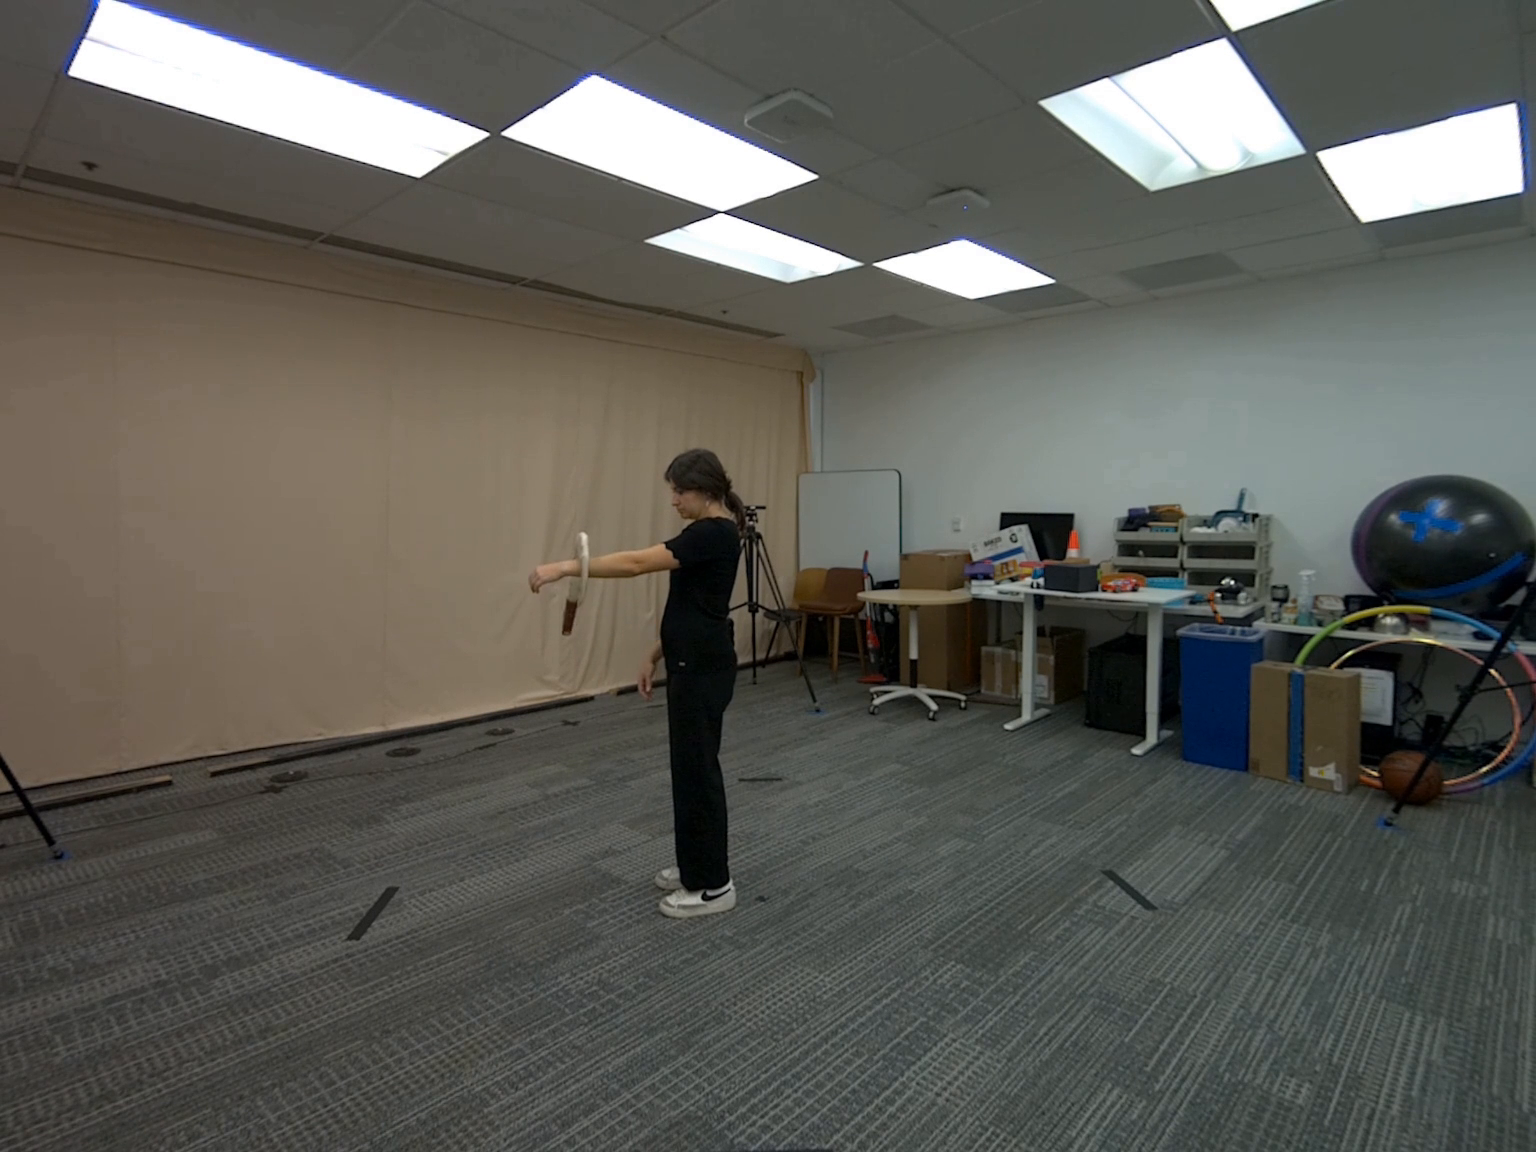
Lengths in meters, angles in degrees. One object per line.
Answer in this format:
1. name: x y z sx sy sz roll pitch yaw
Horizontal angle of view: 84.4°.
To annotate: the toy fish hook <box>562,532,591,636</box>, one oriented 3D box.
1. toy fish hook: -0.647 0.093 2.838 0.047 0.503 0.230 6 42 -16
